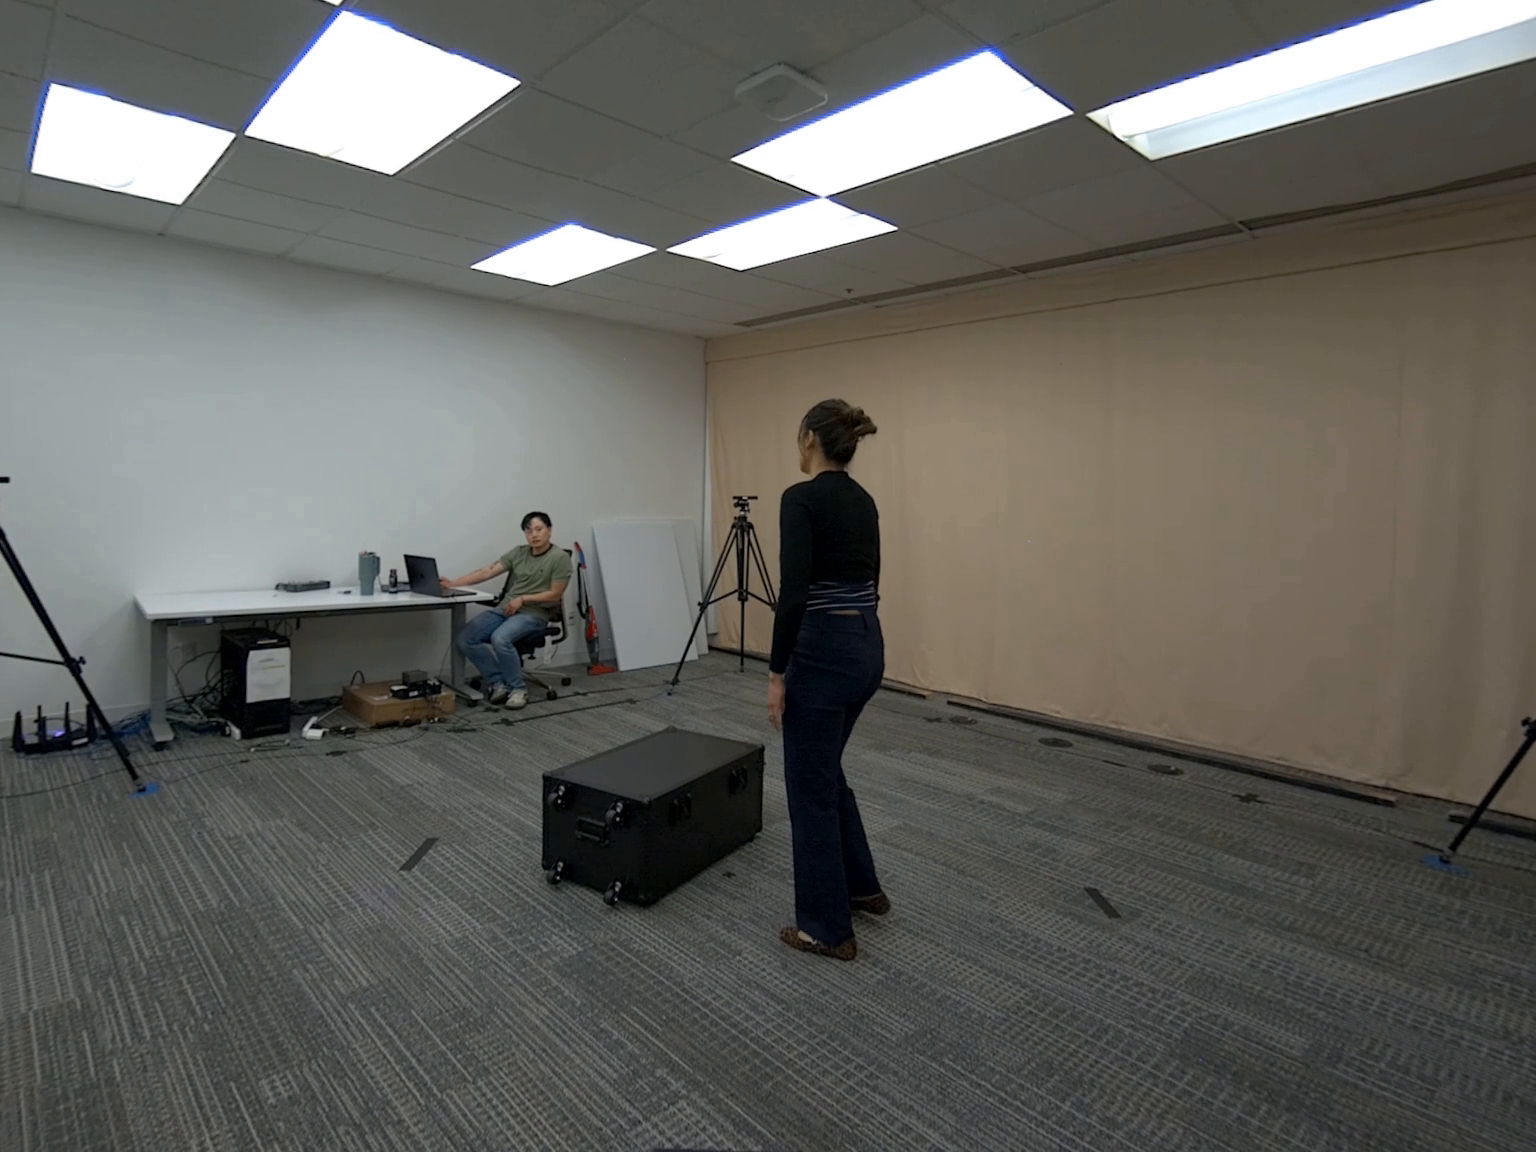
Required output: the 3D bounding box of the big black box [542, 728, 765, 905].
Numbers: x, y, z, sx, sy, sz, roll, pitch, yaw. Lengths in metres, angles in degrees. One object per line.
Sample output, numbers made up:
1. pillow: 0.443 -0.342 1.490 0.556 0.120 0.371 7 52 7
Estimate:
1. big black box: -0.444 0.894 3.232 0.533 0.395 0.845 5 6 30
